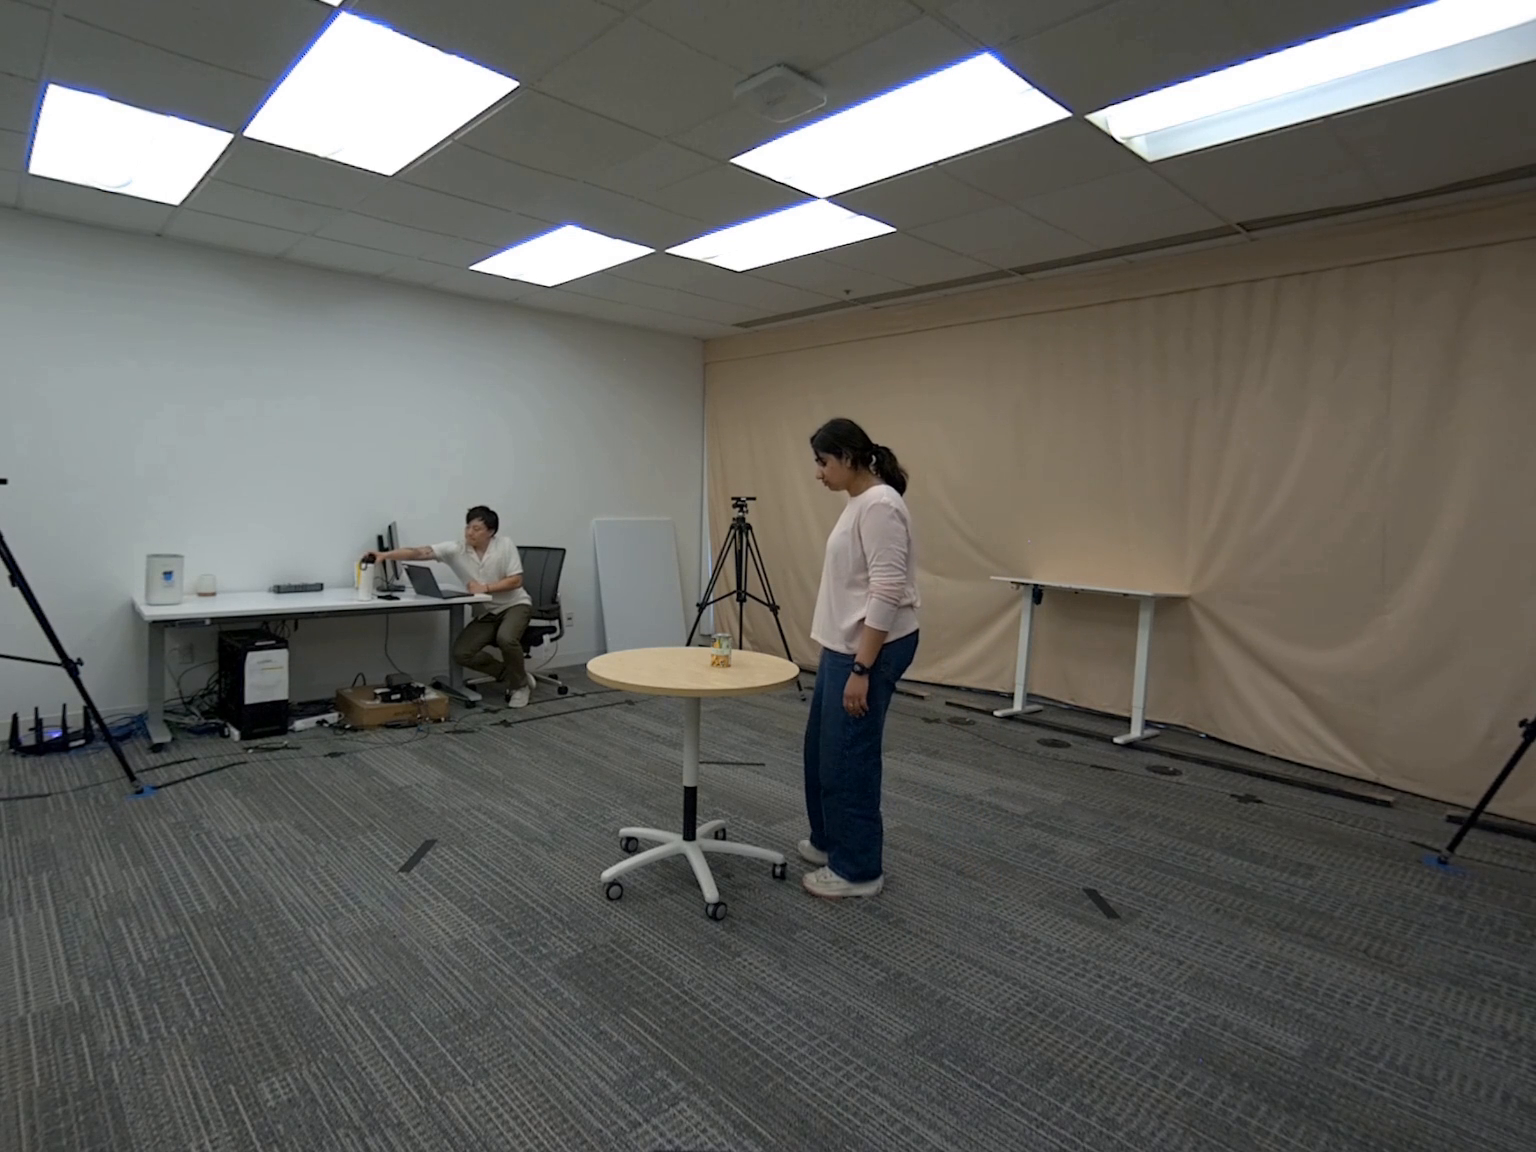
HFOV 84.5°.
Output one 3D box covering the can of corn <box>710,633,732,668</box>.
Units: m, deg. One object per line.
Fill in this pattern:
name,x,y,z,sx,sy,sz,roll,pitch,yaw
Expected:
can of corn,-0.169,0.269,3.062,0.074,0.110,0.074,3,6,-2
